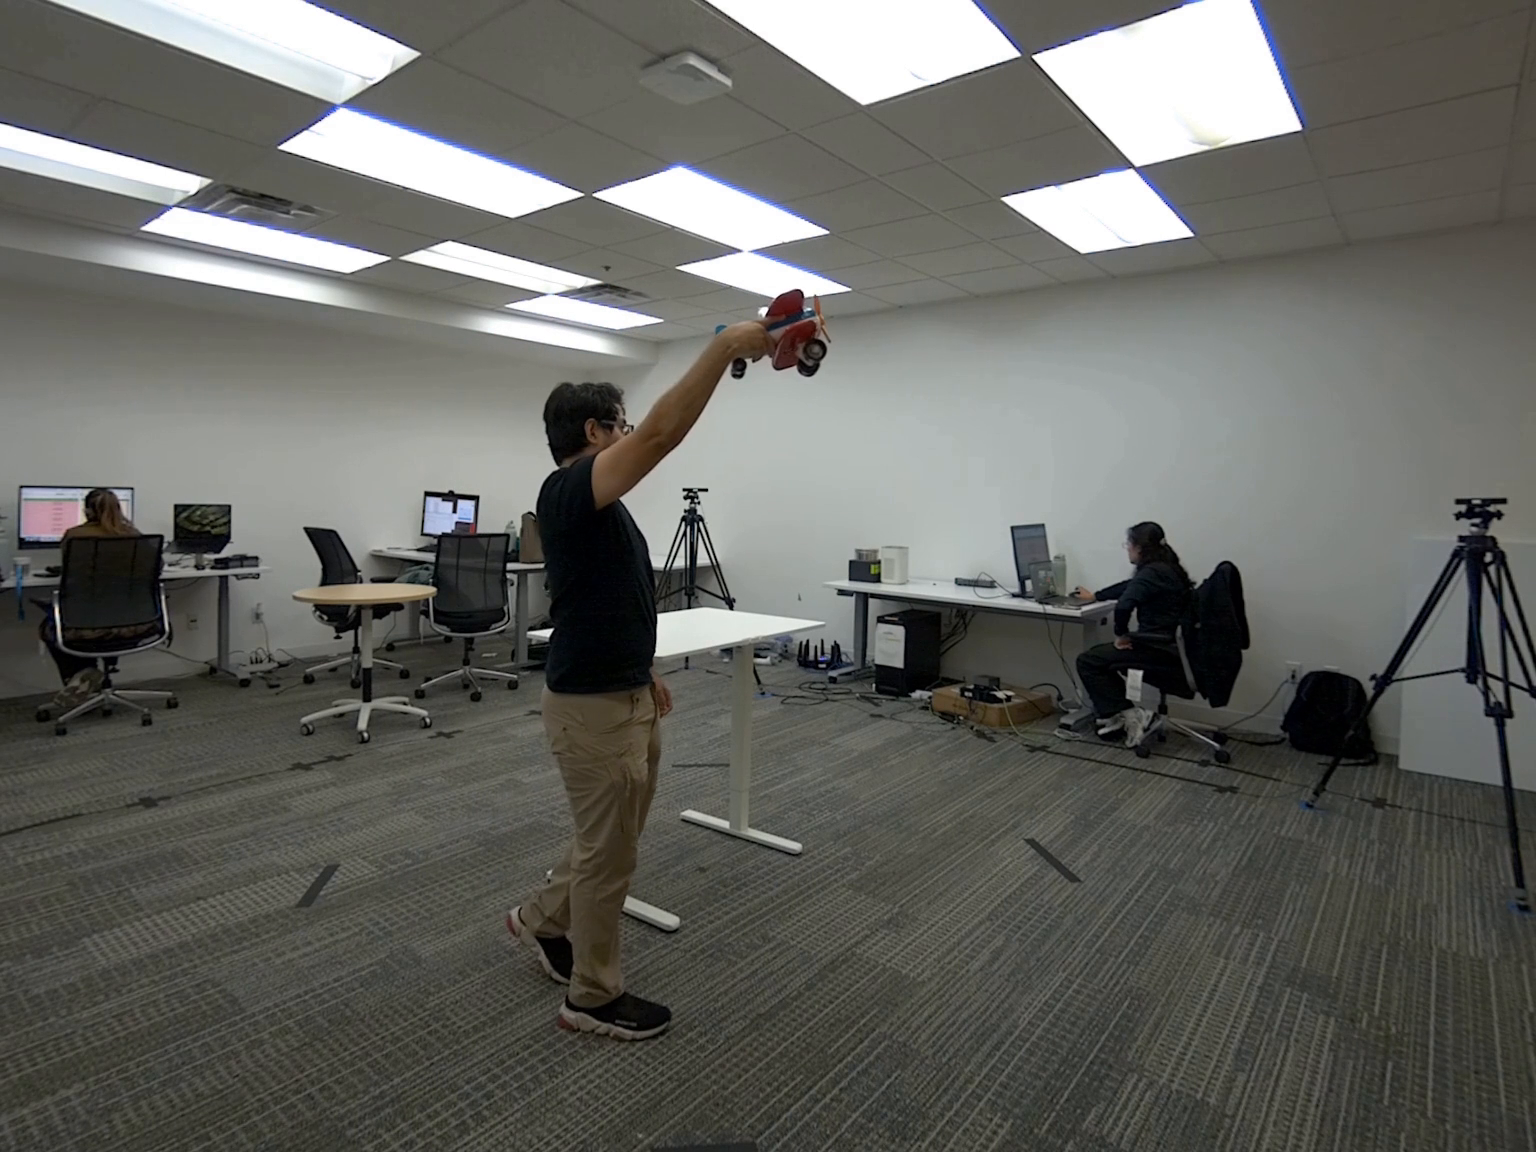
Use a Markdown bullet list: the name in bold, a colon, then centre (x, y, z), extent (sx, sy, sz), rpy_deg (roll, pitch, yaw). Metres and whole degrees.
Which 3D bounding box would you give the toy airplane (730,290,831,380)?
- **toy airplane**: centre (0.007, -0.555, 1.989), extent (0.252, 0.158, 0.256), rpy_deg (-2, -10, -35)
